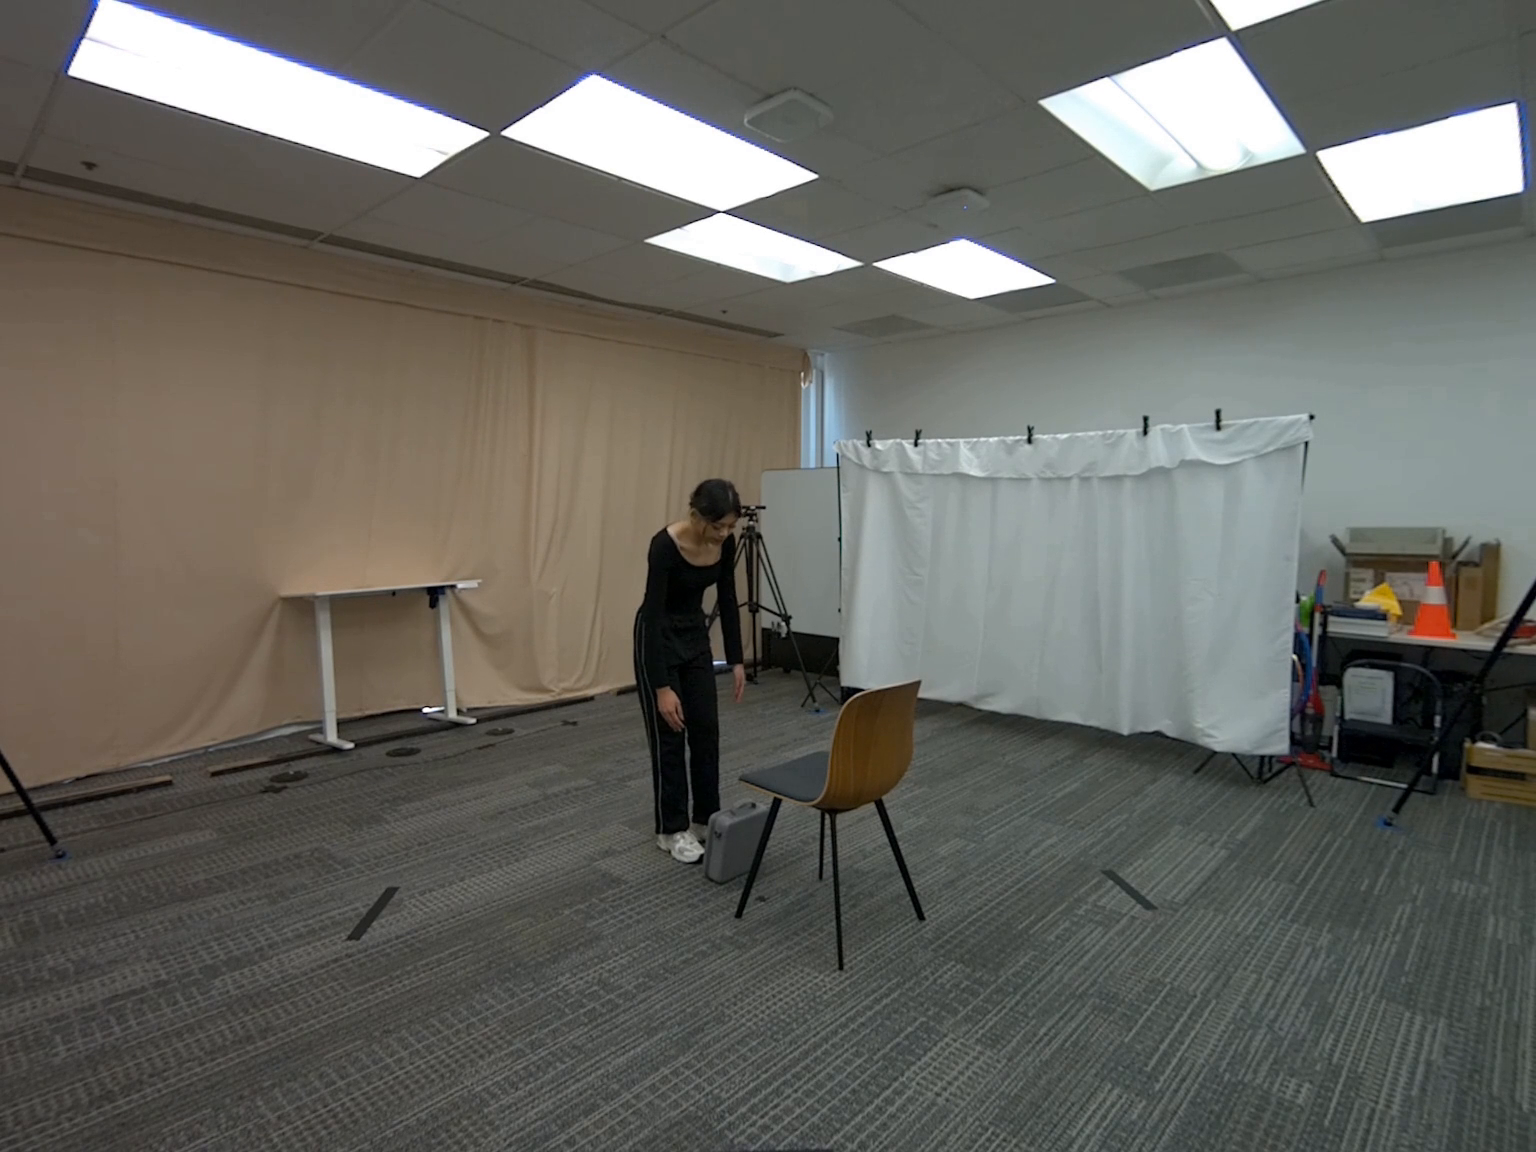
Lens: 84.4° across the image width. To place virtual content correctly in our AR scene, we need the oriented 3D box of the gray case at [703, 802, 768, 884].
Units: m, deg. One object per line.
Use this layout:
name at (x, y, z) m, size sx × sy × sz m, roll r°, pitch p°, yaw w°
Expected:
gray case at (-0.117, 0.995, 3.183) m, size 0.108 × 0.259 × 0.249 m, roll 17°, pitch 15°, yaw 42°
